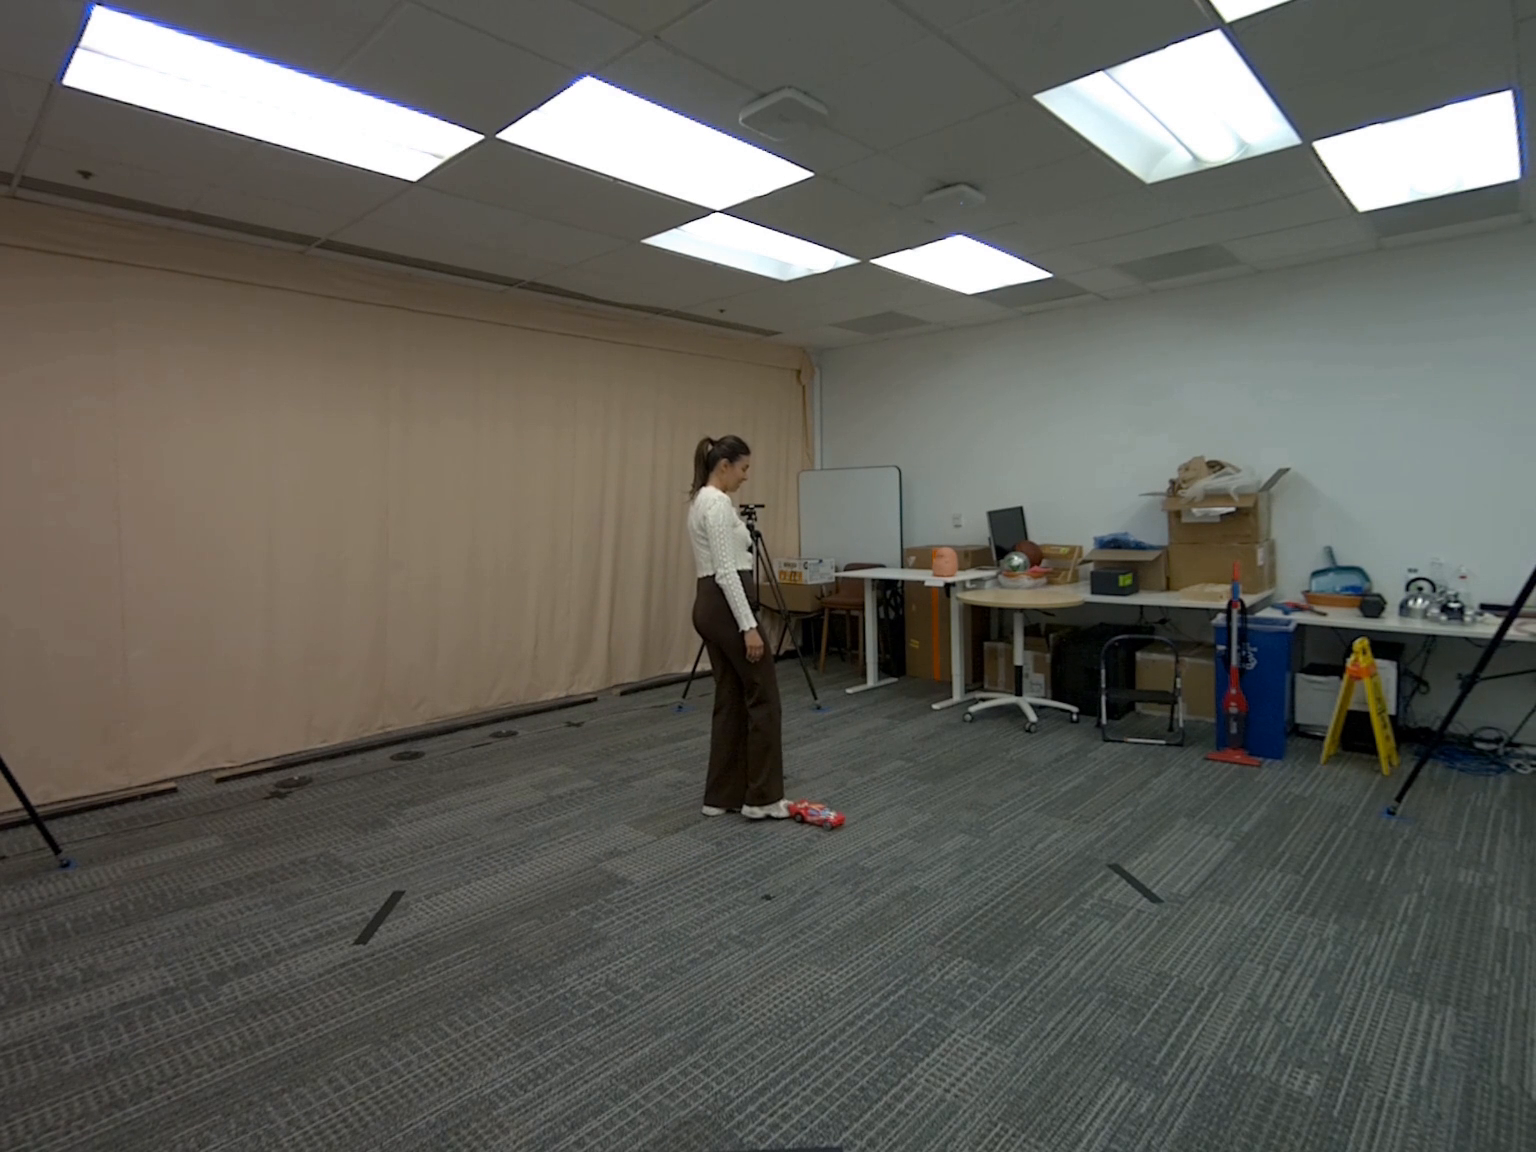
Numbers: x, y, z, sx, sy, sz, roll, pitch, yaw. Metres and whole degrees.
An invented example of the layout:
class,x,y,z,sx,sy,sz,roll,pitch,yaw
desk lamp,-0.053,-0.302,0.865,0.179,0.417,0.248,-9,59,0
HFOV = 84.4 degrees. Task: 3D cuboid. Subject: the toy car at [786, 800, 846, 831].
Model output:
class,x,y,z,sx,sy,sz,roll,pitch,yaw
toy car,0.213,1.043,3.680,0.263,0.083,0.126,16,13,36
